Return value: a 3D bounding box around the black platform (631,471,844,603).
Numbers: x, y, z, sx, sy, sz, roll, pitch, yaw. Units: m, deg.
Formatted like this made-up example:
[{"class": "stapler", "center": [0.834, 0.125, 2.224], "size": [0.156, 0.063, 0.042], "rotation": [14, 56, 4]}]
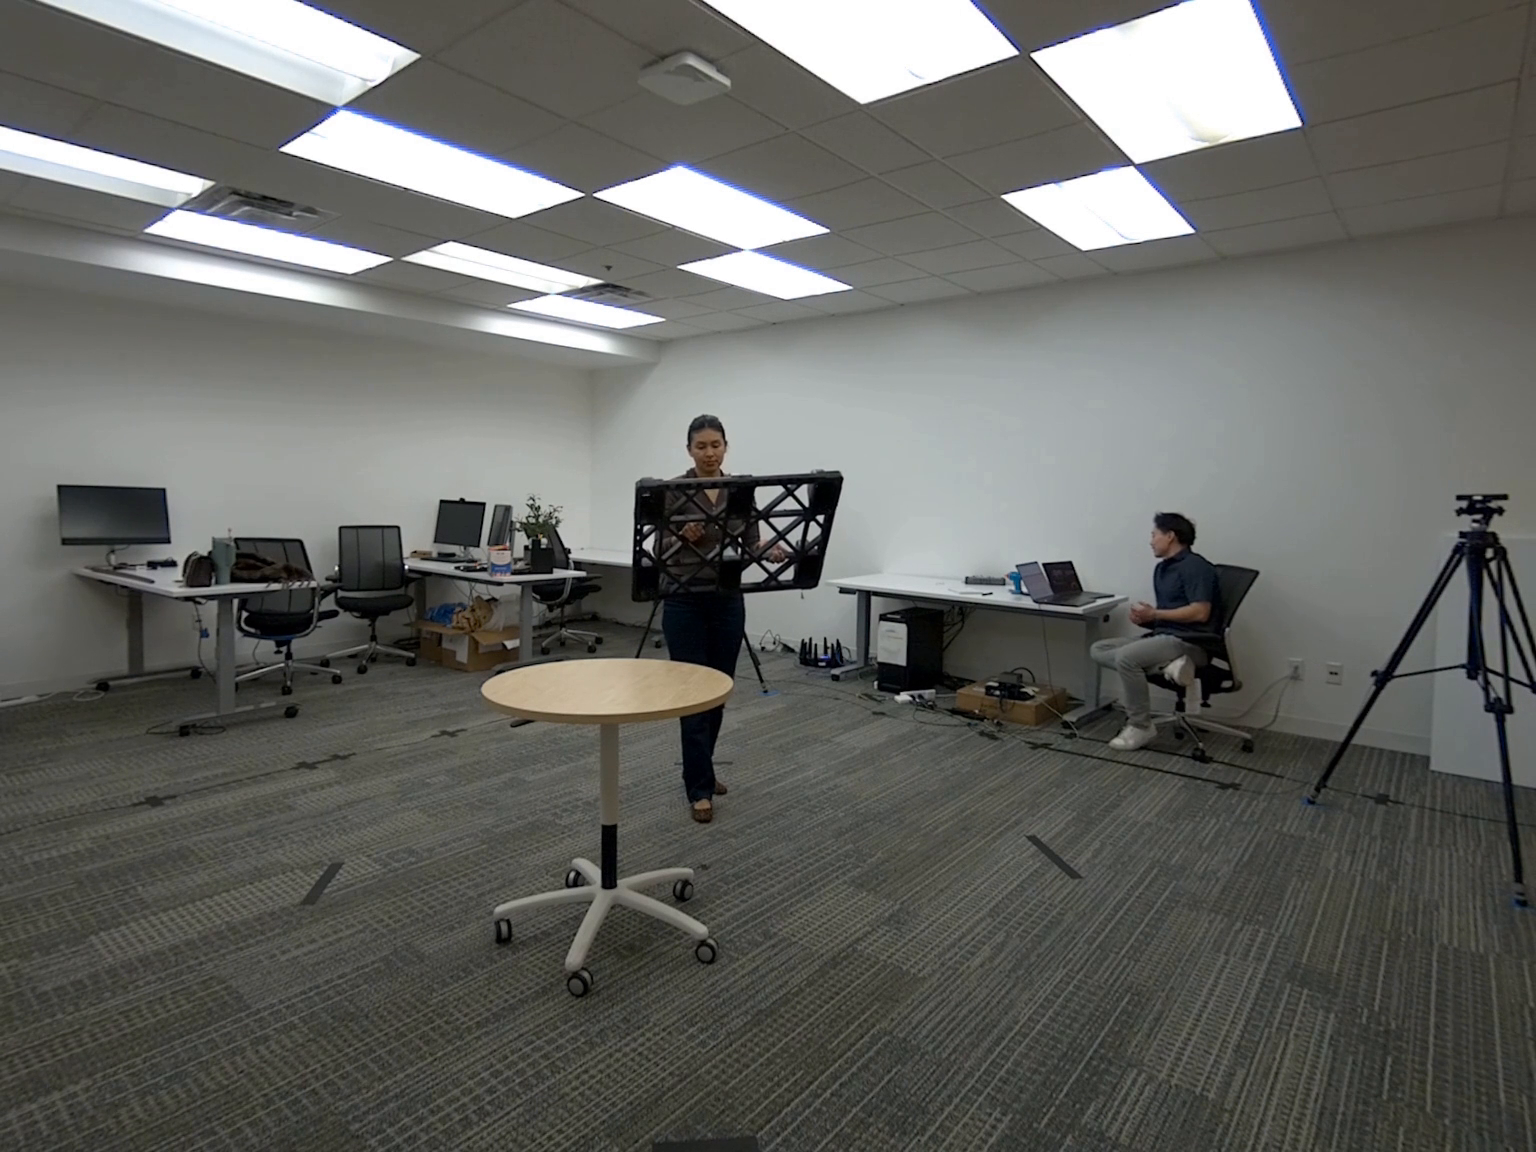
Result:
[{"class": "black platform", "center": [-0.151, -0.177, 3.398], "size": [0.795, 0.591, 0.149], "rotation": [-4, 43, -13]}]
